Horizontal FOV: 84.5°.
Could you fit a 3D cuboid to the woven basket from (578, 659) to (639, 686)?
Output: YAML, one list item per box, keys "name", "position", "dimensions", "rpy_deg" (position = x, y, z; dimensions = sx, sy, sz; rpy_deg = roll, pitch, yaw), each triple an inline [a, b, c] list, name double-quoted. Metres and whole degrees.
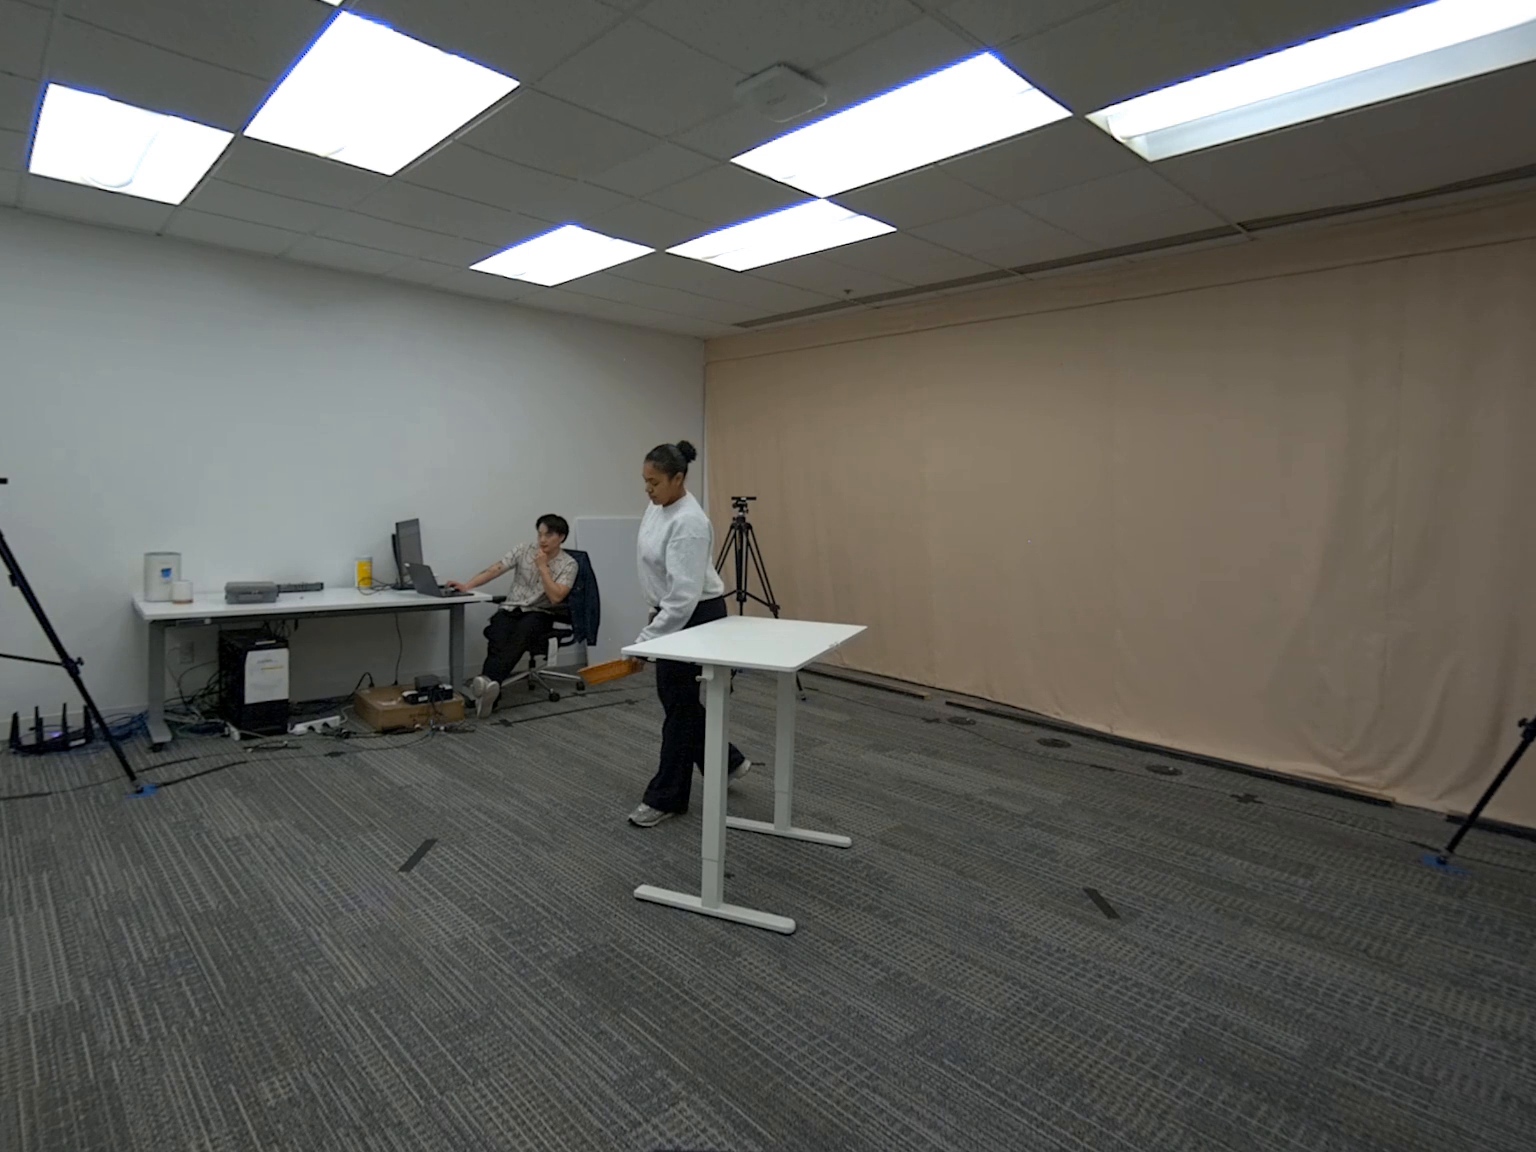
- name: "woven basket"
  position: [-0.642, 0.386, 3.469]
  dimensions: [0.254, 0.074, 0.346]
  rpy_deg: [-14, -3, 13]
